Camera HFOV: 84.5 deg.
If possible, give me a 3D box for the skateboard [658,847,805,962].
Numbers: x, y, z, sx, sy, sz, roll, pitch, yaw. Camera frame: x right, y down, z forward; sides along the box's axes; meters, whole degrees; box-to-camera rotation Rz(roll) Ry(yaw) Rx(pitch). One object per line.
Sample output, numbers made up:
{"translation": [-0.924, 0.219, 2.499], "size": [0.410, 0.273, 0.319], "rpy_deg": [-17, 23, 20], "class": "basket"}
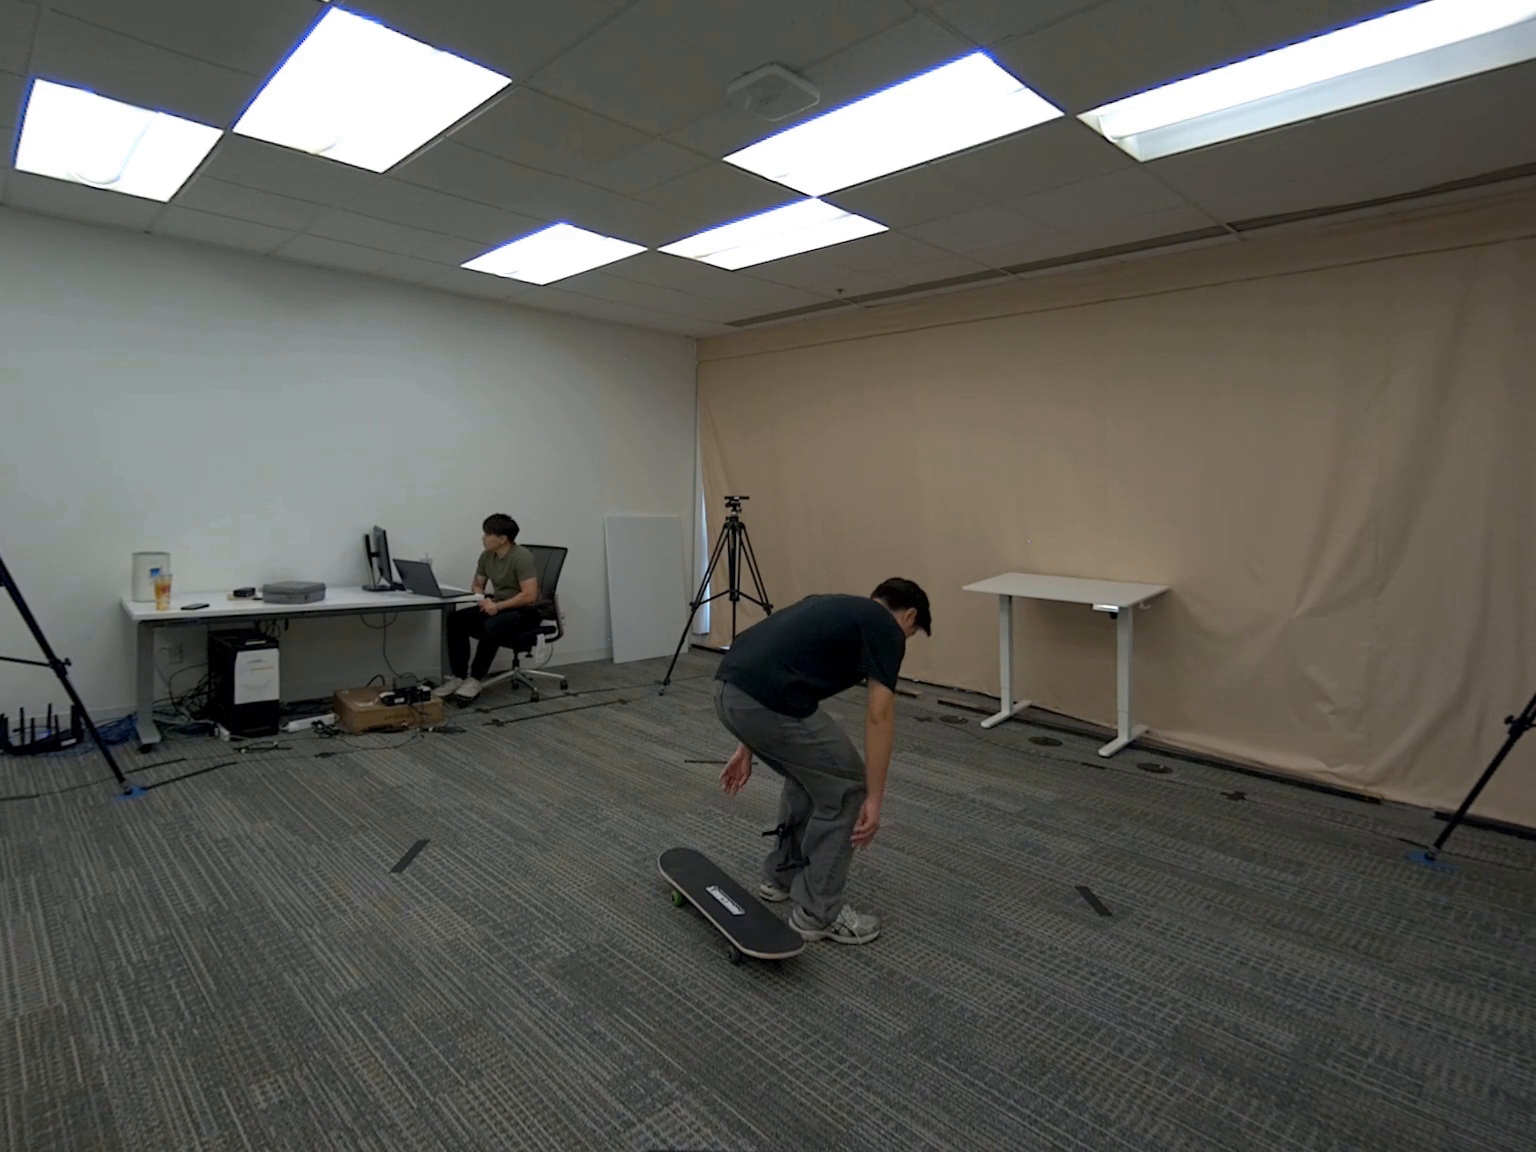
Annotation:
{"translation": [-0.141, 1.081, 2.723], "size": [0.189, 0.110, 0.804], "rpy_deg": [-2, 5, -32], "class": "skateboard"}
